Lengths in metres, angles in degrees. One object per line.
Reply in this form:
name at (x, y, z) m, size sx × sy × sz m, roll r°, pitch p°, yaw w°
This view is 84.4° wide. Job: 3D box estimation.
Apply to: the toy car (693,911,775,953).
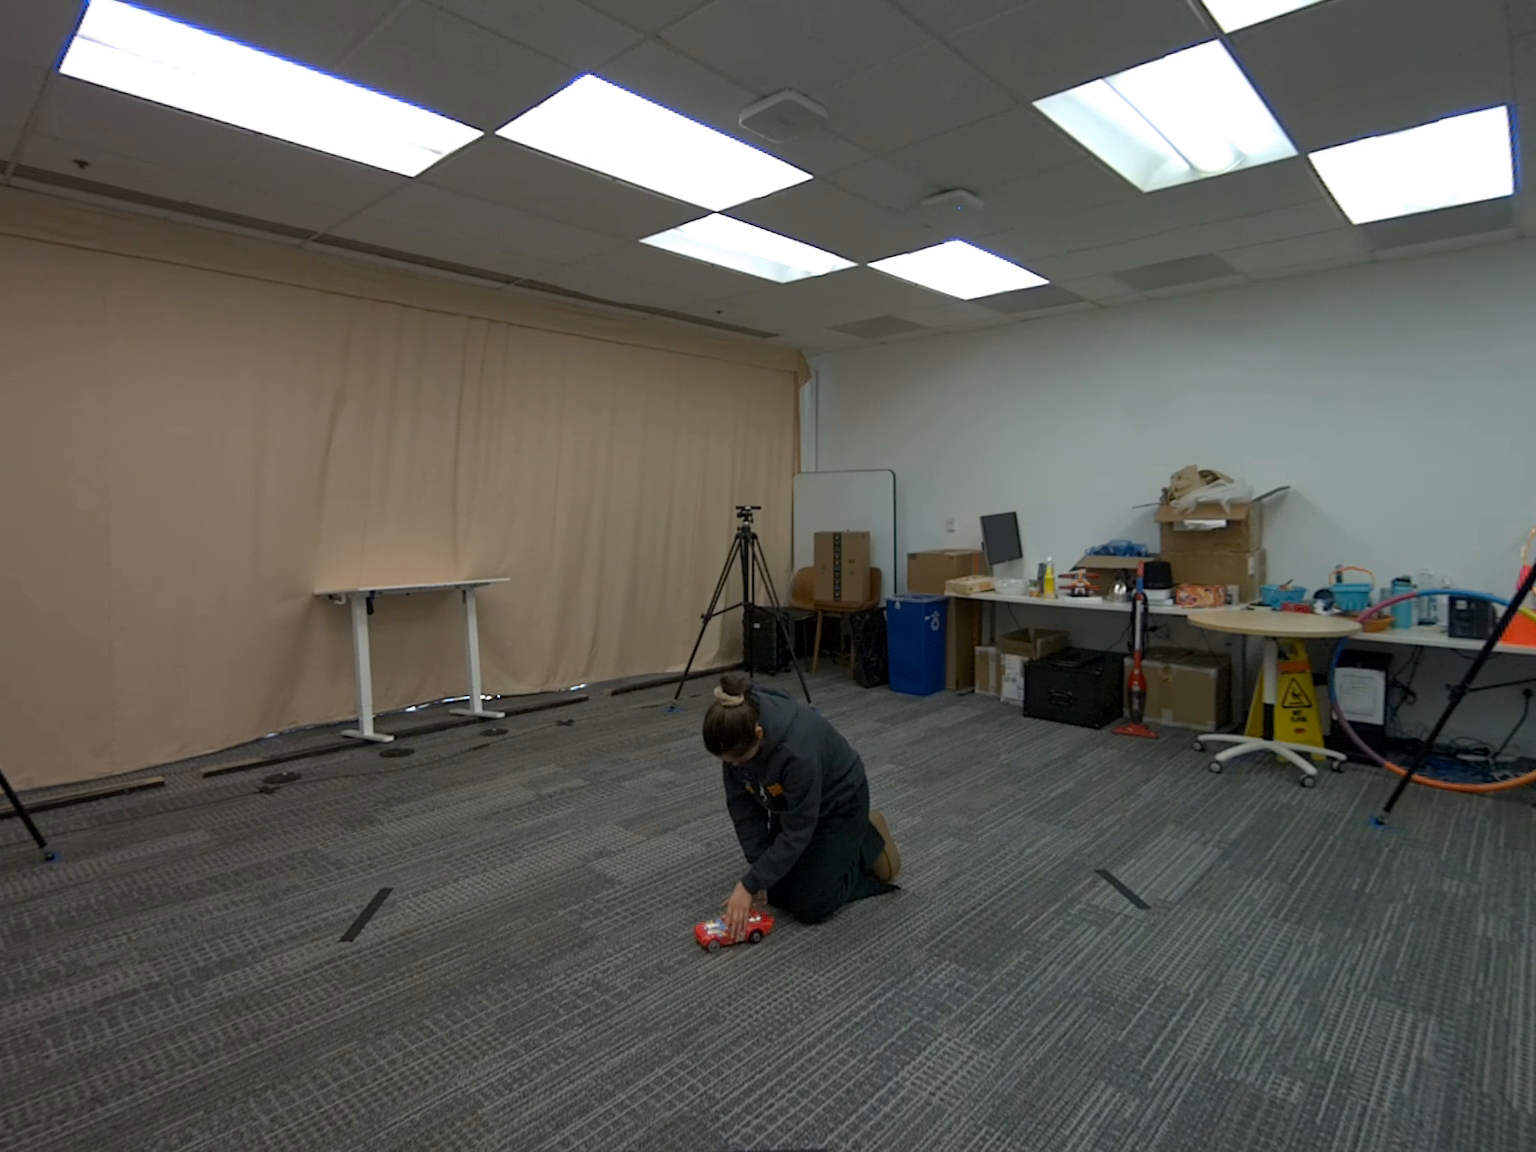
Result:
toy car at (-0.089, 1.134, 2.707) m, size 0.250 × 0.082 × 0.133 m, roll -13°, pitch 11°, yaw -19°
